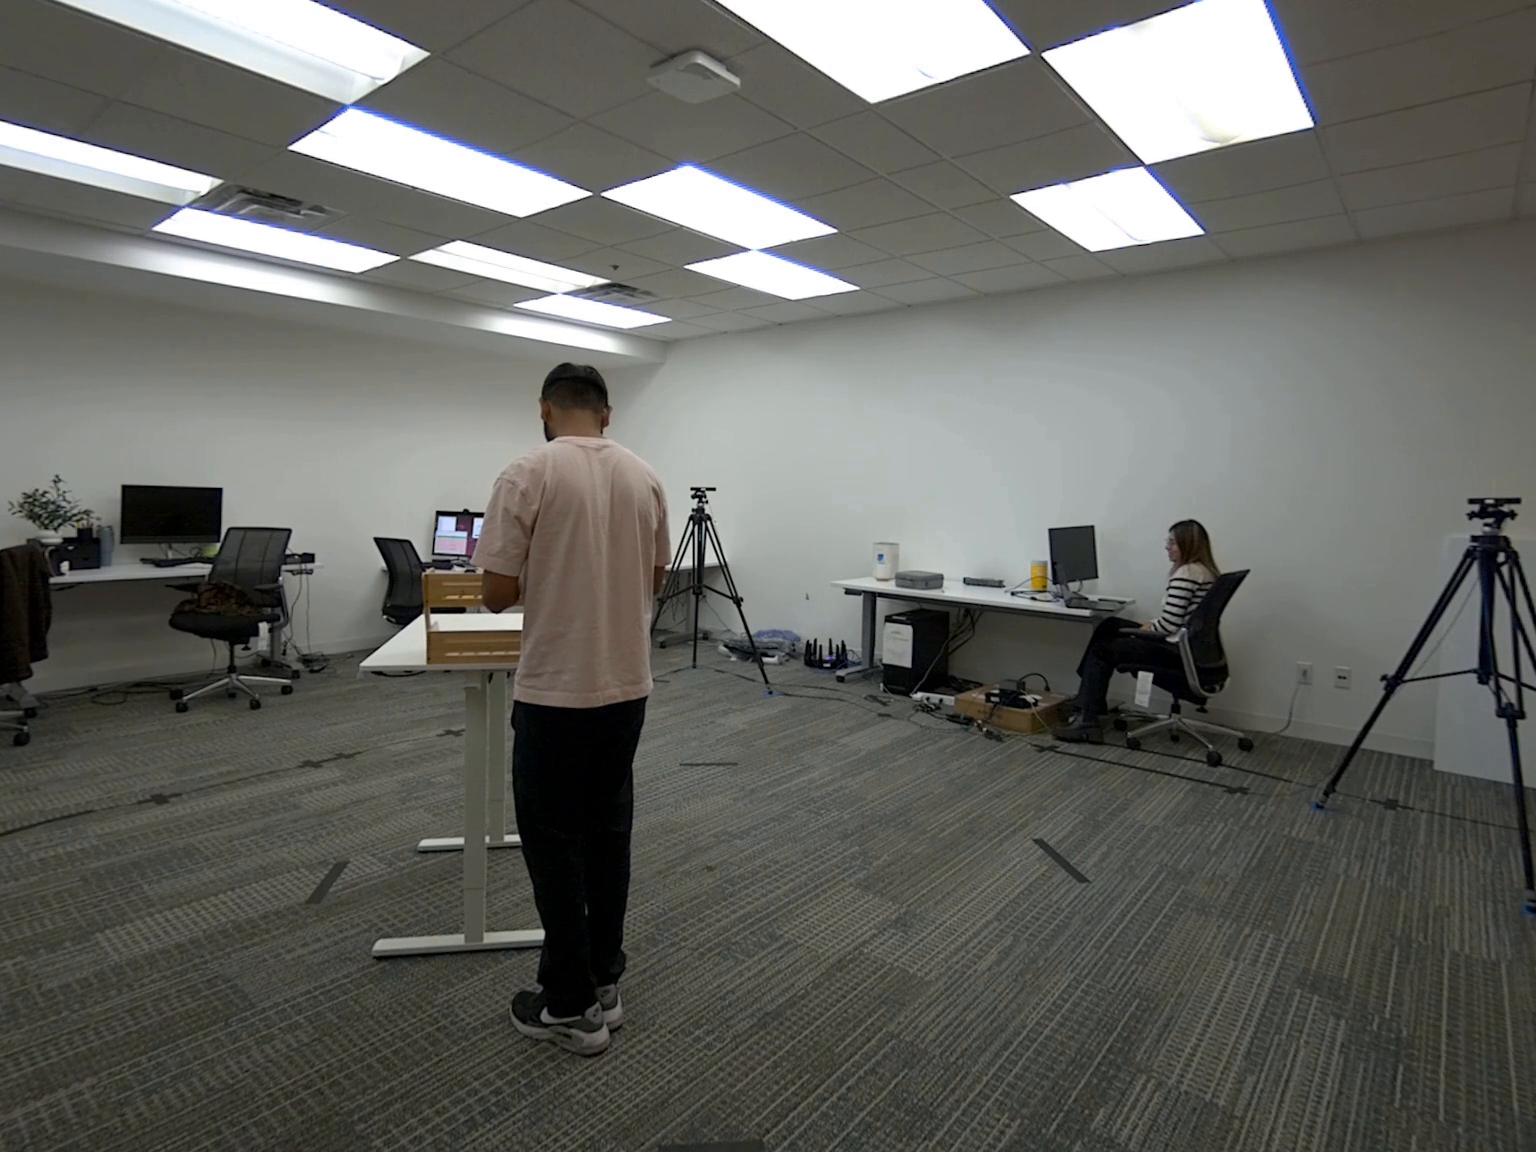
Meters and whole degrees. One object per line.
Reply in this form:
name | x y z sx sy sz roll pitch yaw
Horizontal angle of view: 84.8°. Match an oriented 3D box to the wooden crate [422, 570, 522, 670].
wooden crate | -0.843 0.103 2.481 0.319 0.272 0.309 -2 7 -16
